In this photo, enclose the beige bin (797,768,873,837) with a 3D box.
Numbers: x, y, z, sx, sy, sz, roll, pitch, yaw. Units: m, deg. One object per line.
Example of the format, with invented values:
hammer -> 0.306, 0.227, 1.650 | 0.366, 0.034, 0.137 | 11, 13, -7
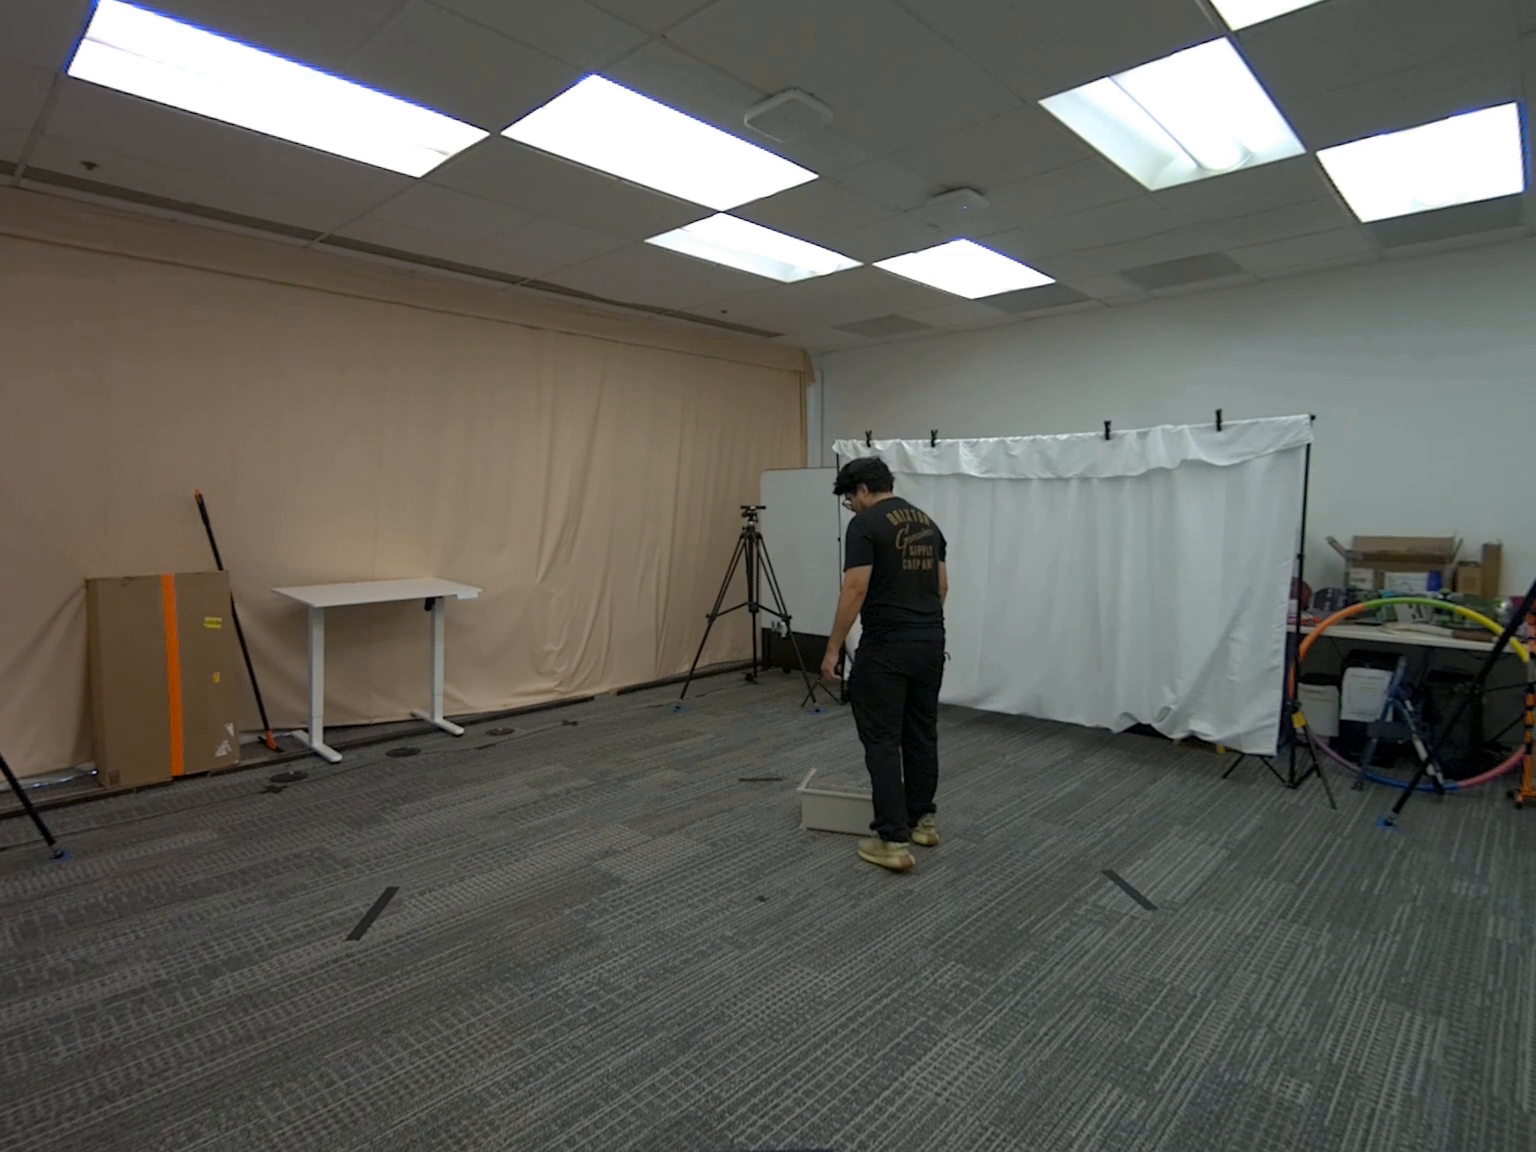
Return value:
beige bin -> 0.379, 0.989, 3.718 | 0.431, 0.188, 0.371 | 1, 6, 17
